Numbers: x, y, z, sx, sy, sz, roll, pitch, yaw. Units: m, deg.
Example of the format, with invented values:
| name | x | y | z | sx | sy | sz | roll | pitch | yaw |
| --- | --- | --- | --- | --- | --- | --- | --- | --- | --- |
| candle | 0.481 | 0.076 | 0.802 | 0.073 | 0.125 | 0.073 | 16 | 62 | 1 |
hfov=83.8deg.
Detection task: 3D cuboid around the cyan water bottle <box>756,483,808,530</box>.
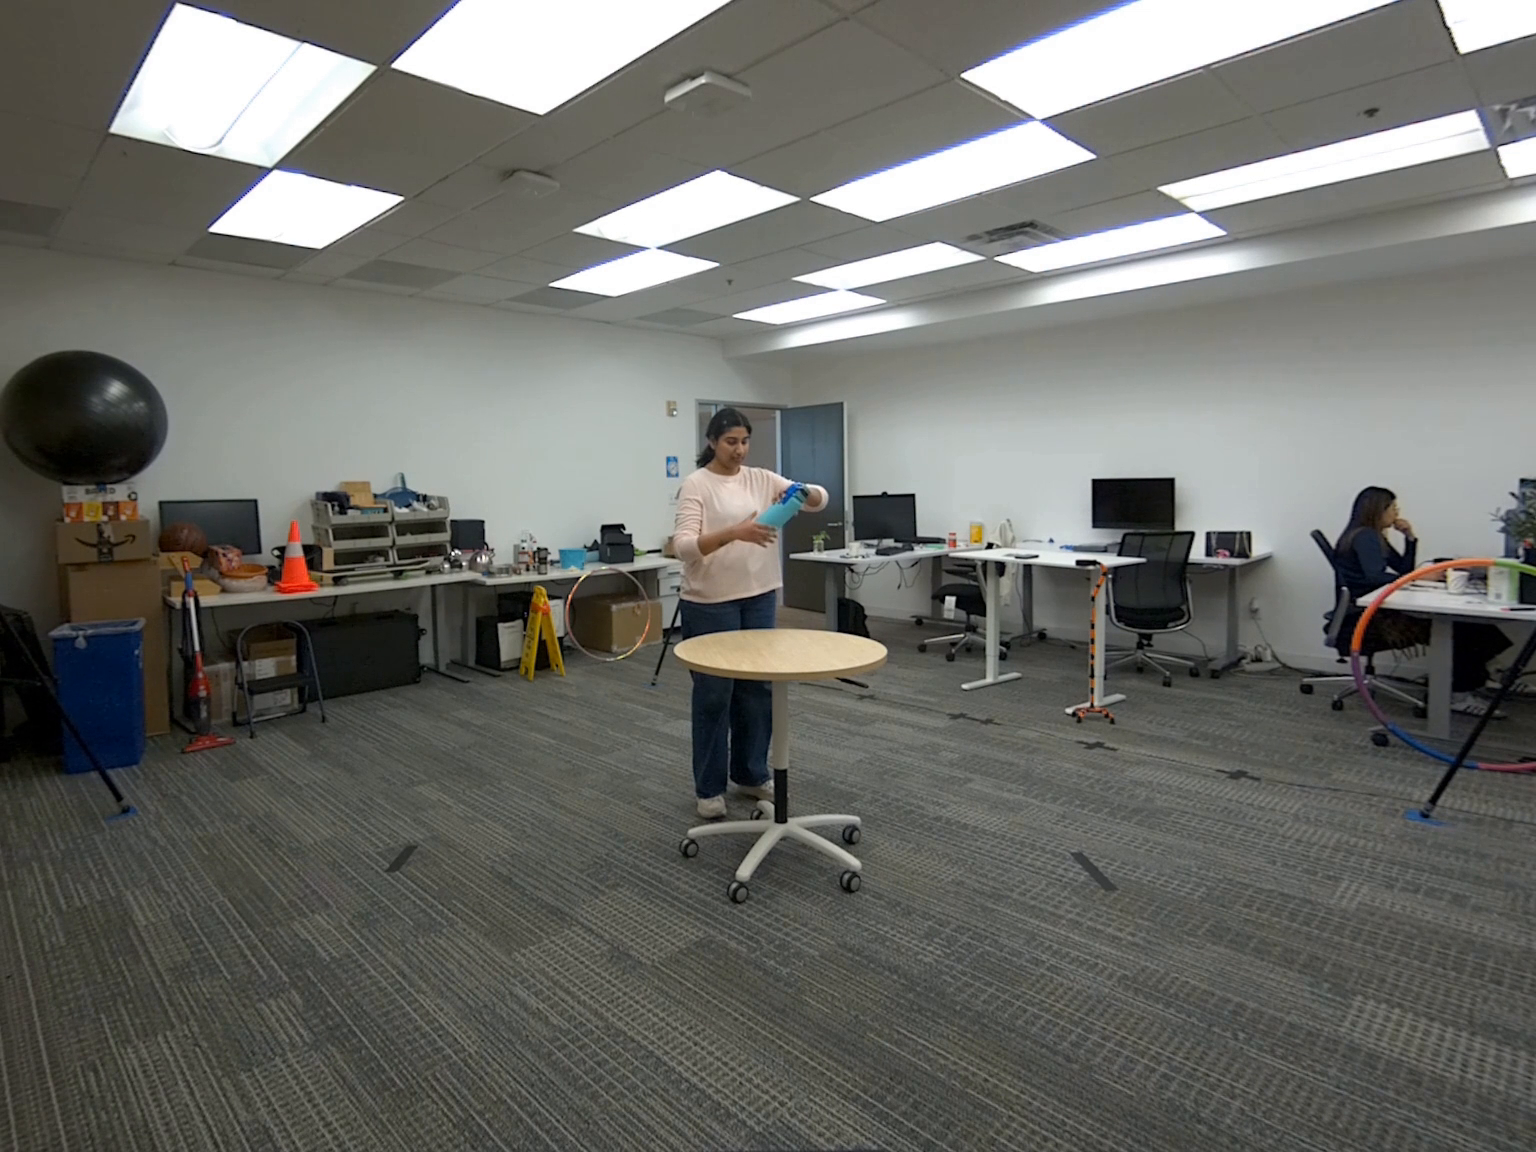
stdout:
| name | x | y | z | sx | sy | sz | roll | pitch | yaw |
| --- | --- | --- | --- | --- | --- | --- | --- | --- | --- |
| cyan water bottle | 0.058 | -0.248 | 3.353 | 0.091 | 0.283 | 0.094 | 41 | 13 | -14 |
